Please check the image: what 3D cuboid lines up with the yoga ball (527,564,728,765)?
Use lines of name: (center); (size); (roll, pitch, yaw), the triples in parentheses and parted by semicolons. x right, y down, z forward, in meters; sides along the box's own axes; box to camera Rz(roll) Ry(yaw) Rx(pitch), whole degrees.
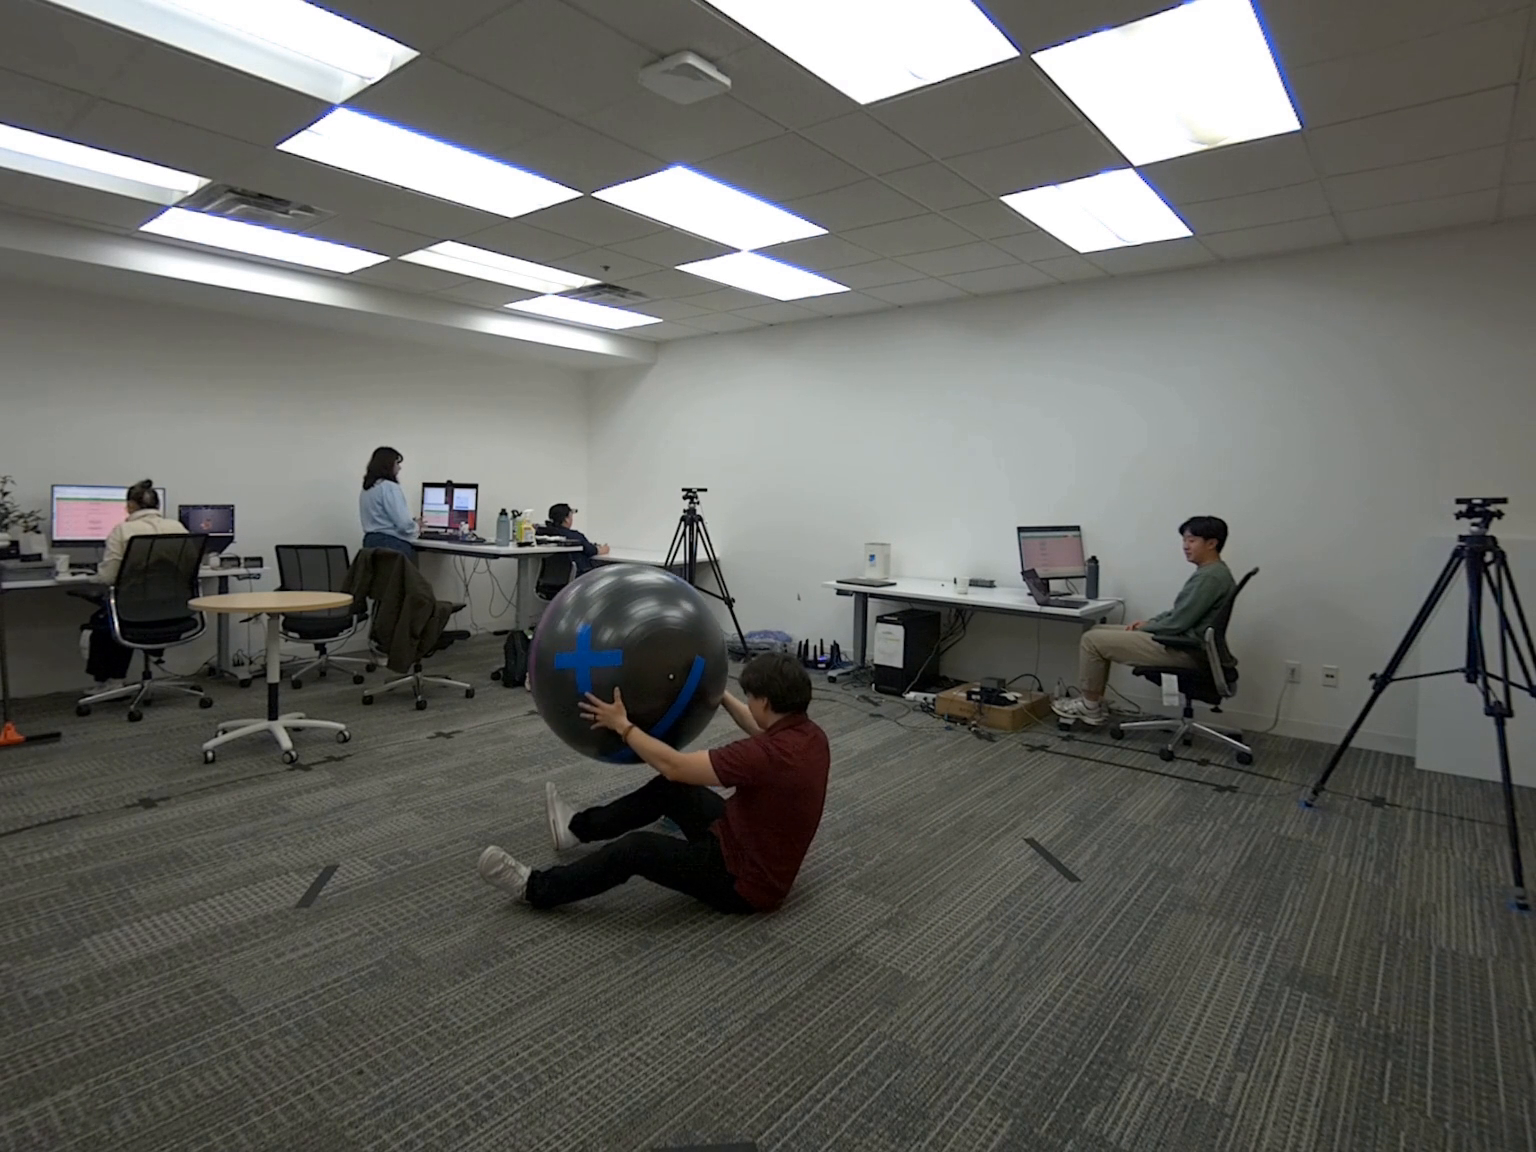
yoga ball: (-0.546, 0.344, 3.257); (0.757, 0.755, 0.762); (1, 4, -2)
